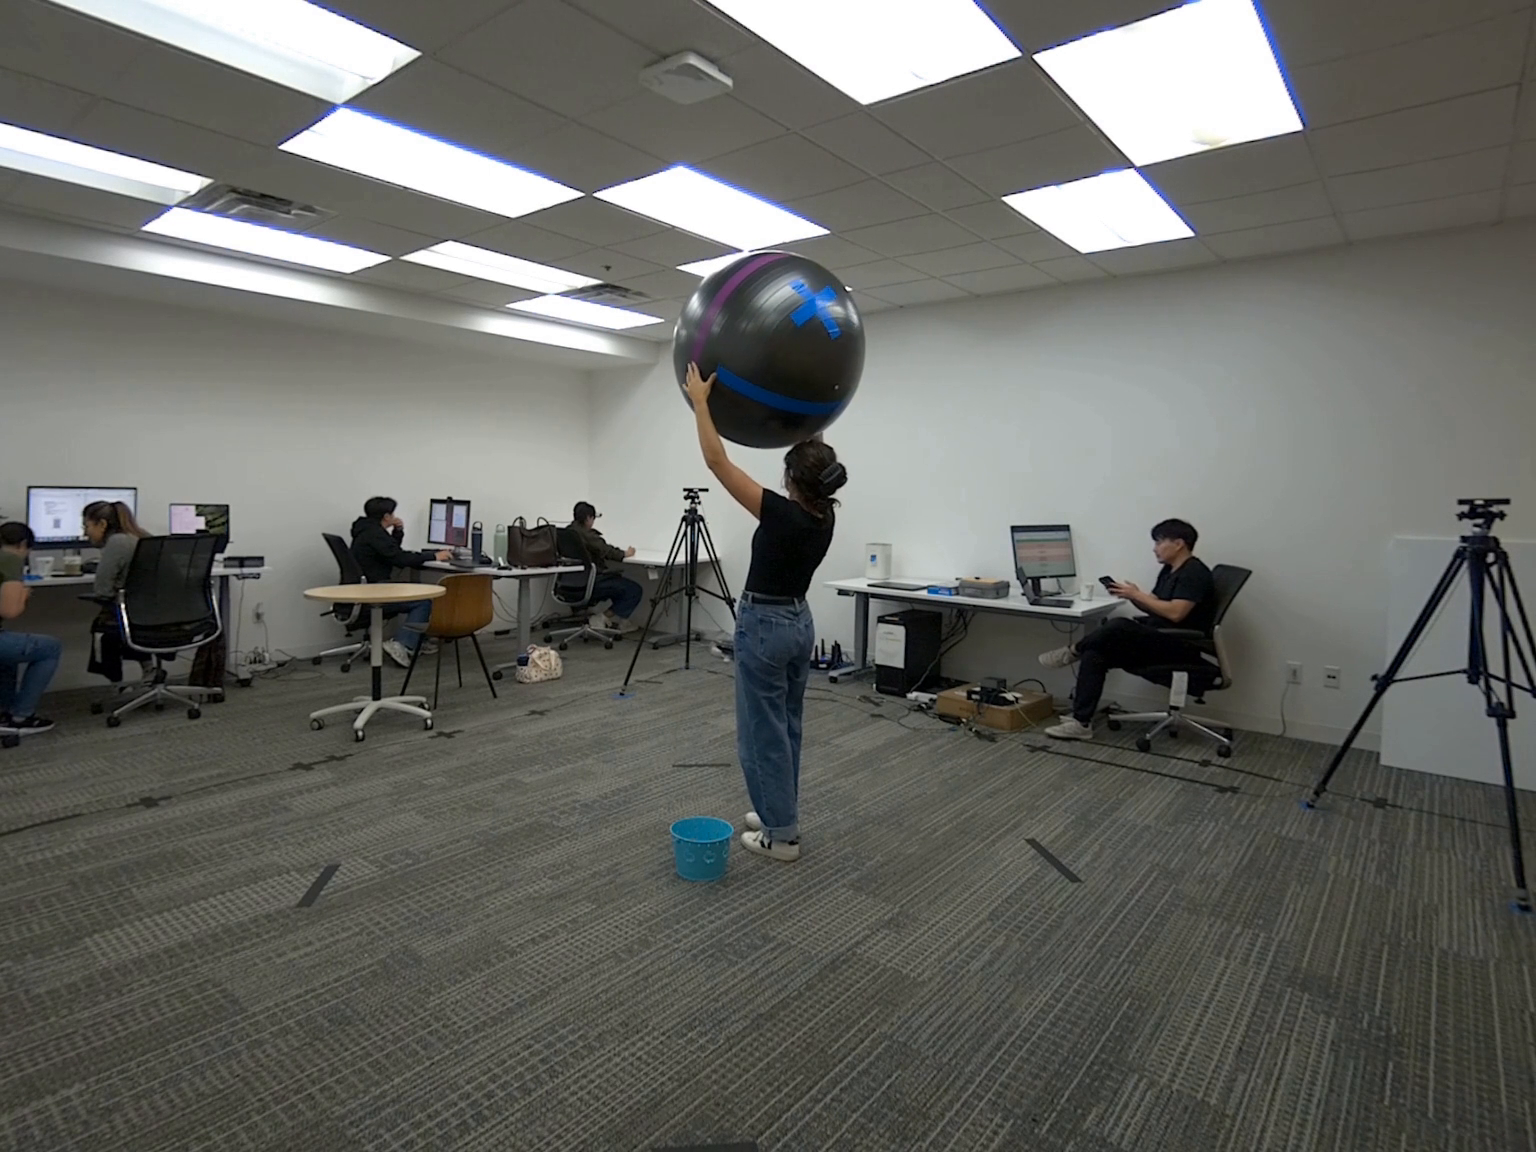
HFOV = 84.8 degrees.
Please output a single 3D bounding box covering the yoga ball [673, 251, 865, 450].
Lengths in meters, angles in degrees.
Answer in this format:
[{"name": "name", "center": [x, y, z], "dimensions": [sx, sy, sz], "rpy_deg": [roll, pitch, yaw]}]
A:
[{"name": "yoga ball", "center": [-0.007, -0.885, 3.359], "dimensions": [0.757, 0.756, 0.762], "rpy_deg": [1, 4, -2]}]
